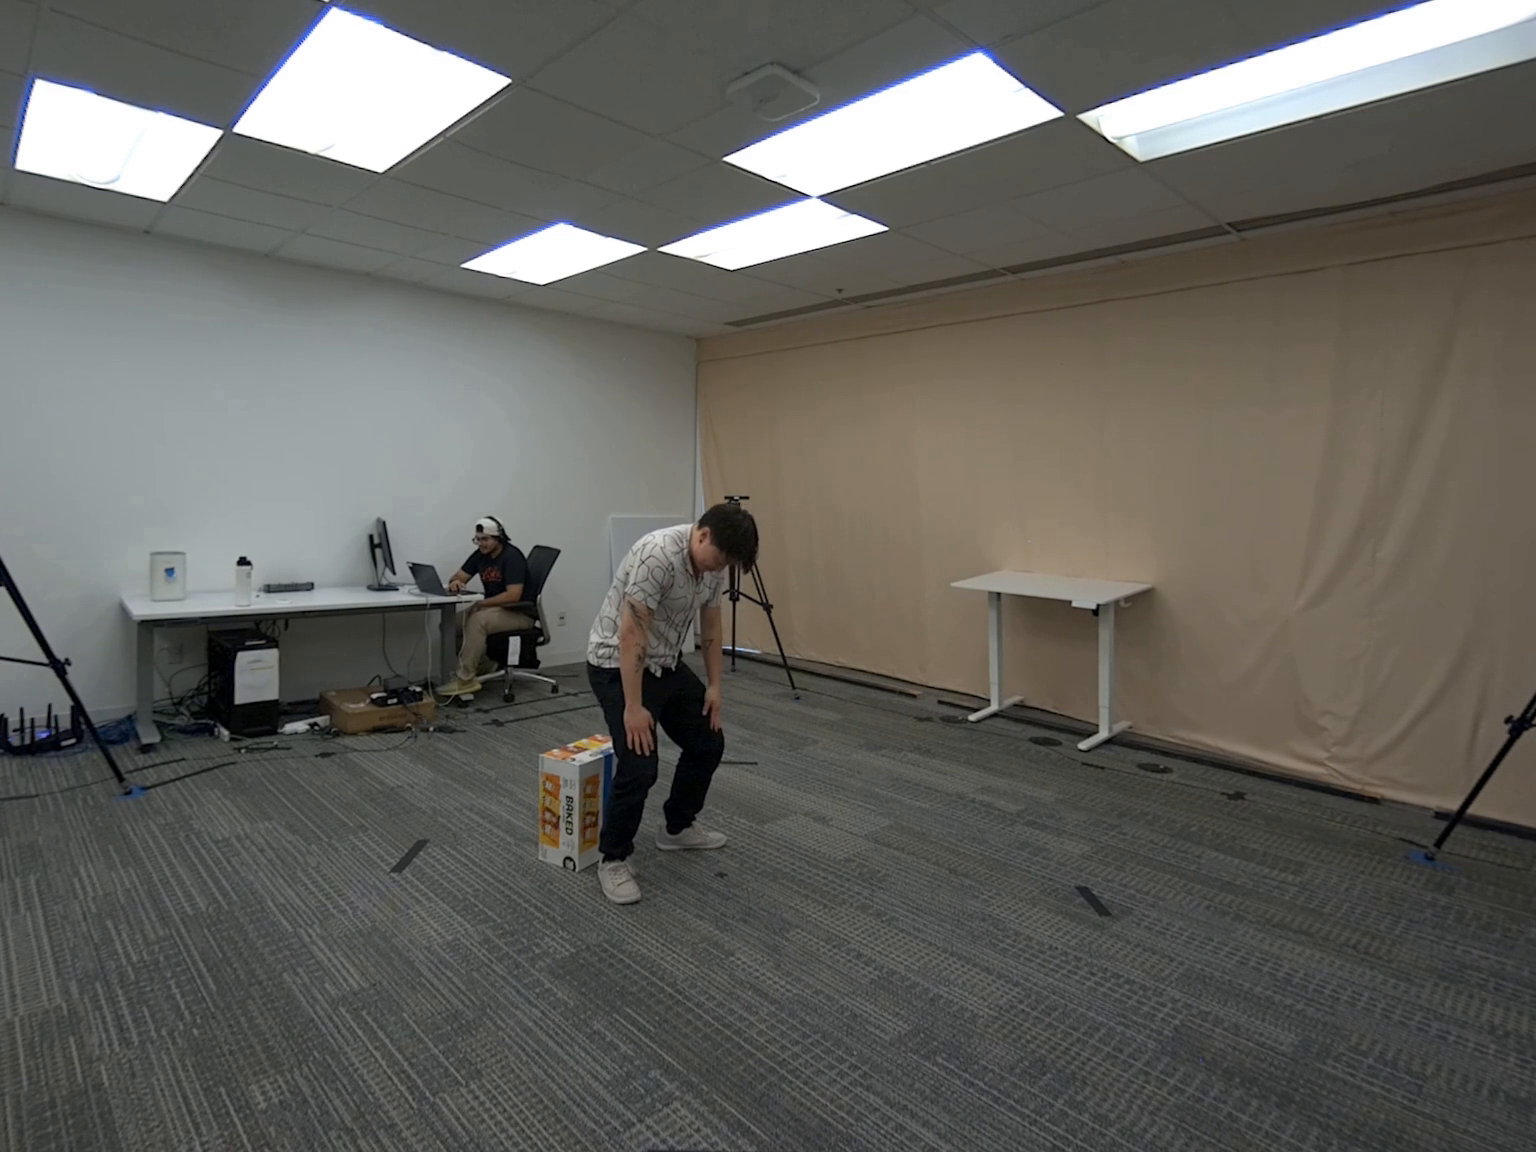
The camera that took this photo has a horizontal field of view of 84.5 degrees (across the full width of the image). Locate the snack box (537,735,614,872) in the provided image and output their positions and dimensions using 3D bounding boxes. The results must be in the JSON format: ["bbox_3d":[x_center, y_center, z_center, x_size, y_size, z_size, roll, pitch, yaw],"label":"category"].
[{"bbox_3d":[-0.707,0.871,3.276,0.210,0.404,0.334,4,5,30],"label":"snack box"}]
